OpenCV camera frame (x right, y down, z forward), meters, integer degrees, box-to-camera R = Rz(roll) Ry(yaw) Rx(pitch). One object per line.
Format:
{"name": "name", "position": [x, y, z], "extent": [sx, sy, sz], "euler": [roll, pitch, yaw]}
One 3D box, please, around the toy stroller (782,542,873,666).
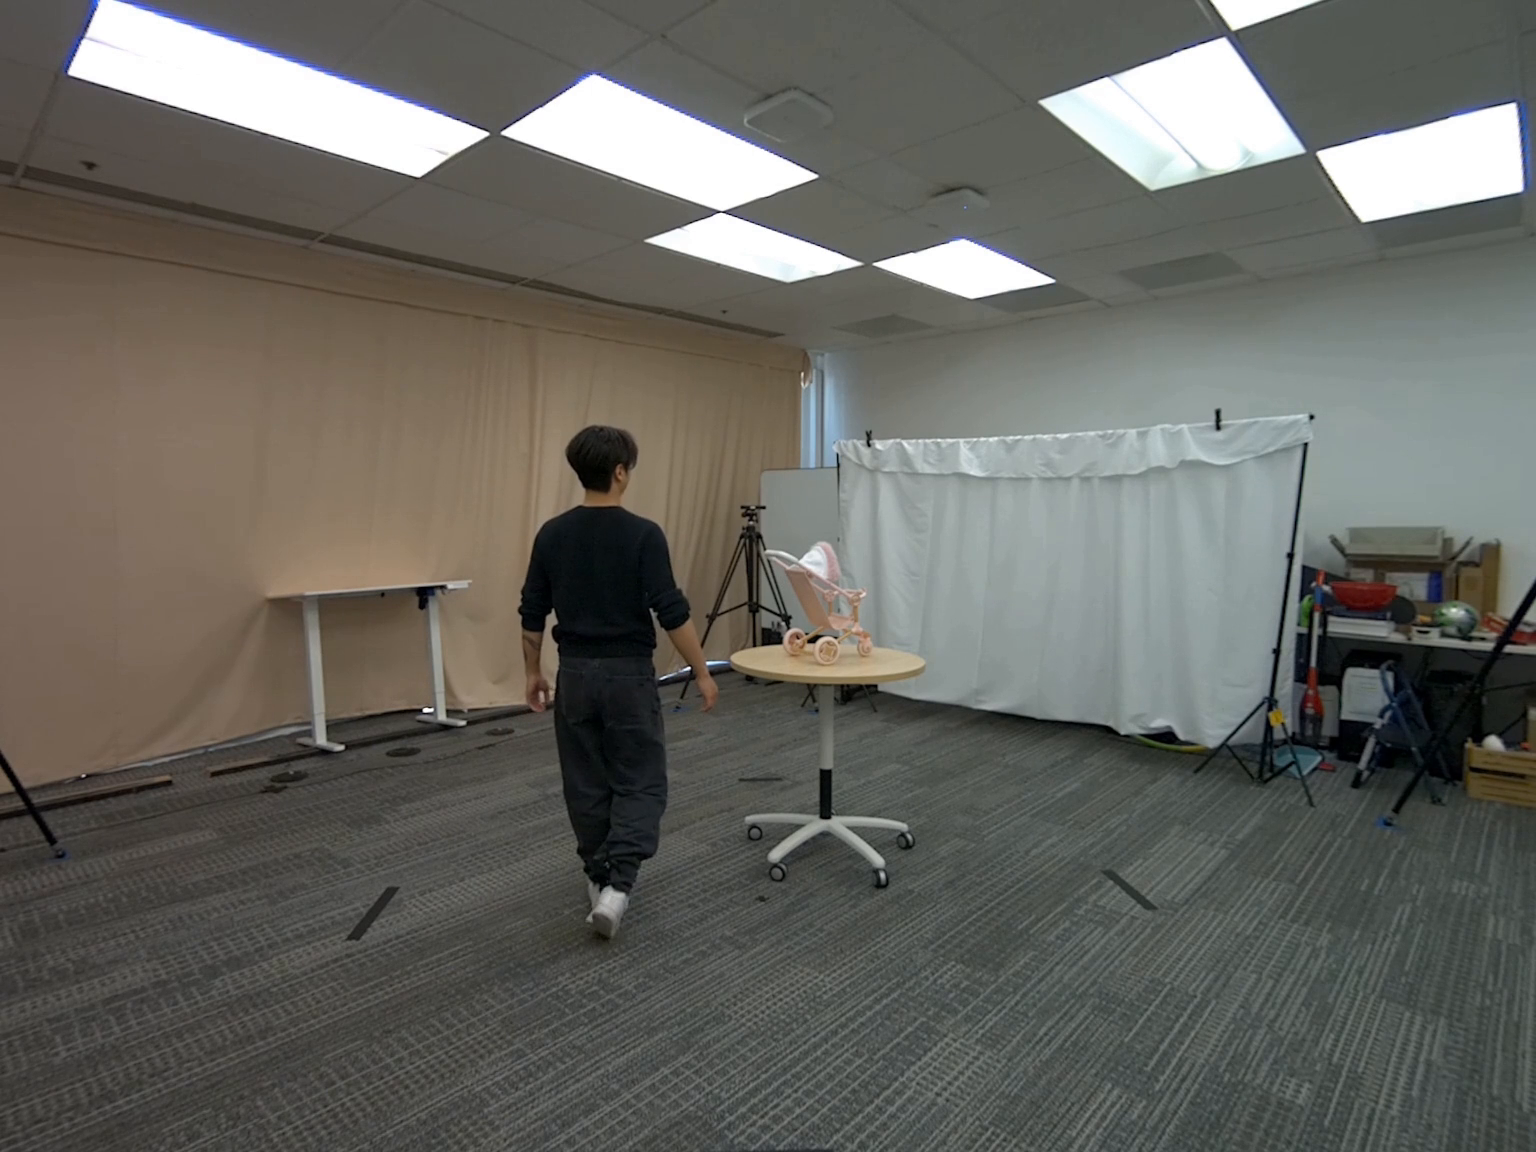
{"name": "toy stroller", "position": [0.231, 0.106, 3.324], "extent": [0.336, 0.532, 0.287], "euler": [-17, 8, -19]}
